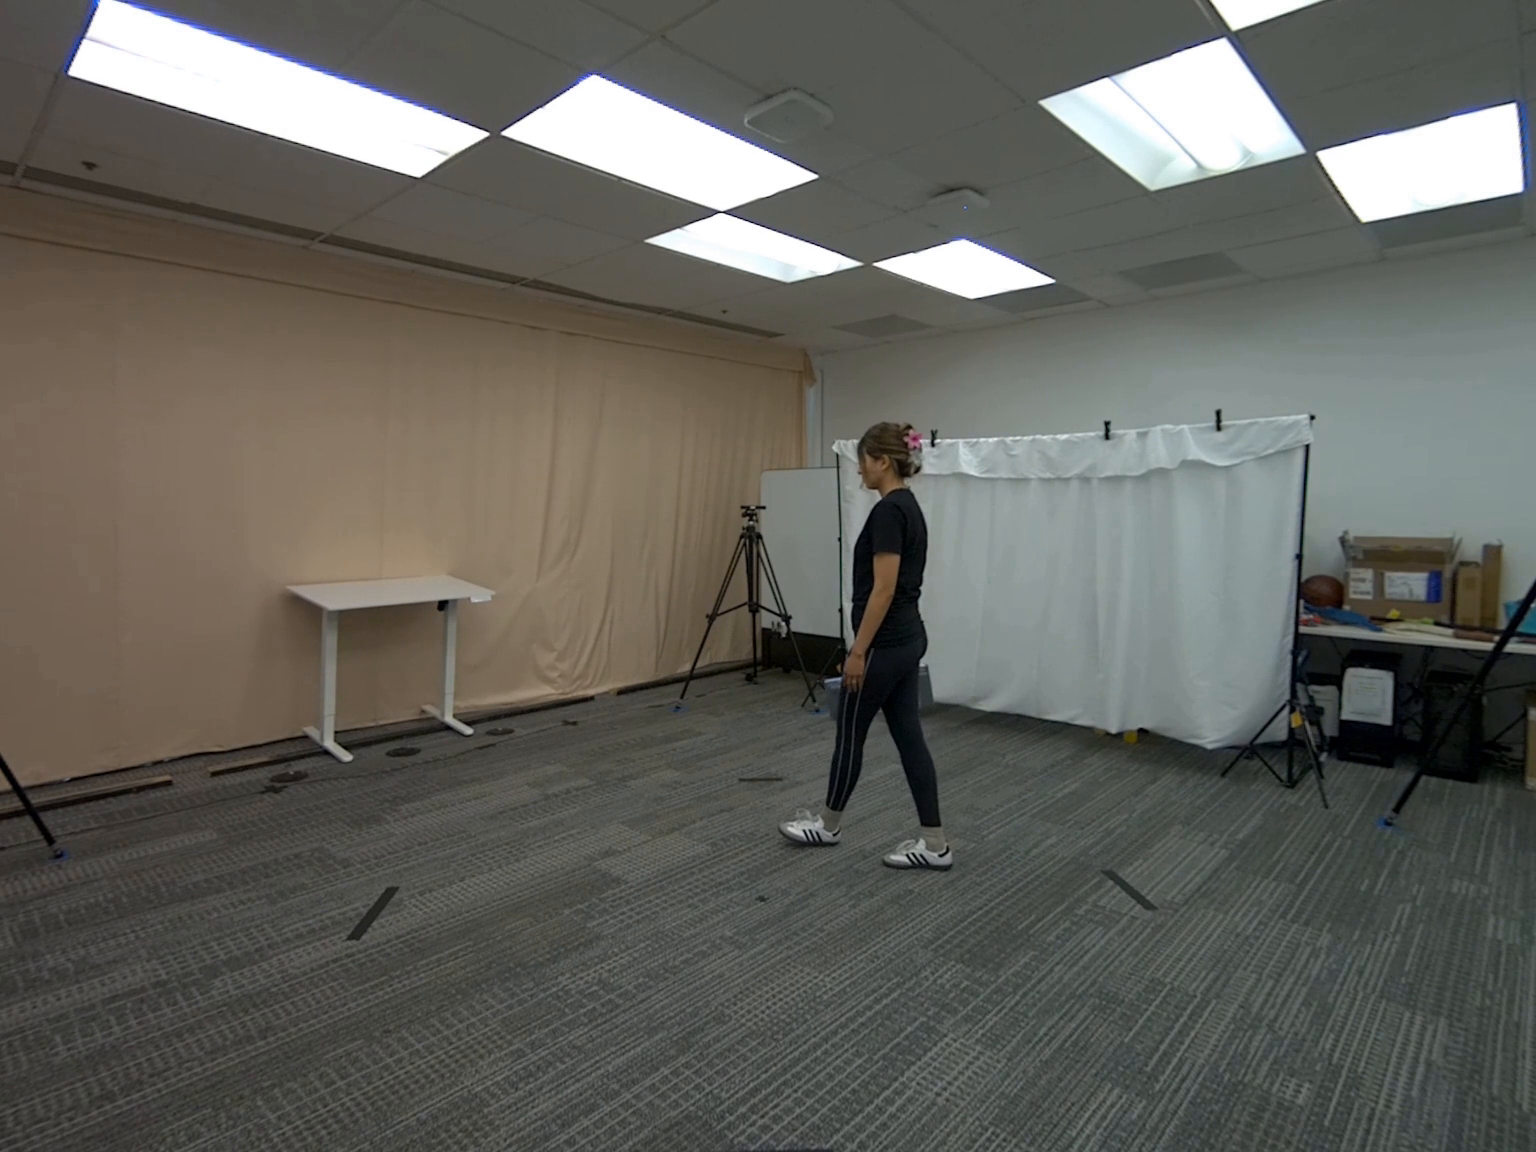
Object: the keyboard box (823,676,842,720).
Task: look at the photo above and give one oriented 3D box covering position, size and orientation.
[{"bbox_3d":[0.475,0.488,3.569,0.439,0.175,0.059,-9,3,6],"label":"keyboard box"}]
